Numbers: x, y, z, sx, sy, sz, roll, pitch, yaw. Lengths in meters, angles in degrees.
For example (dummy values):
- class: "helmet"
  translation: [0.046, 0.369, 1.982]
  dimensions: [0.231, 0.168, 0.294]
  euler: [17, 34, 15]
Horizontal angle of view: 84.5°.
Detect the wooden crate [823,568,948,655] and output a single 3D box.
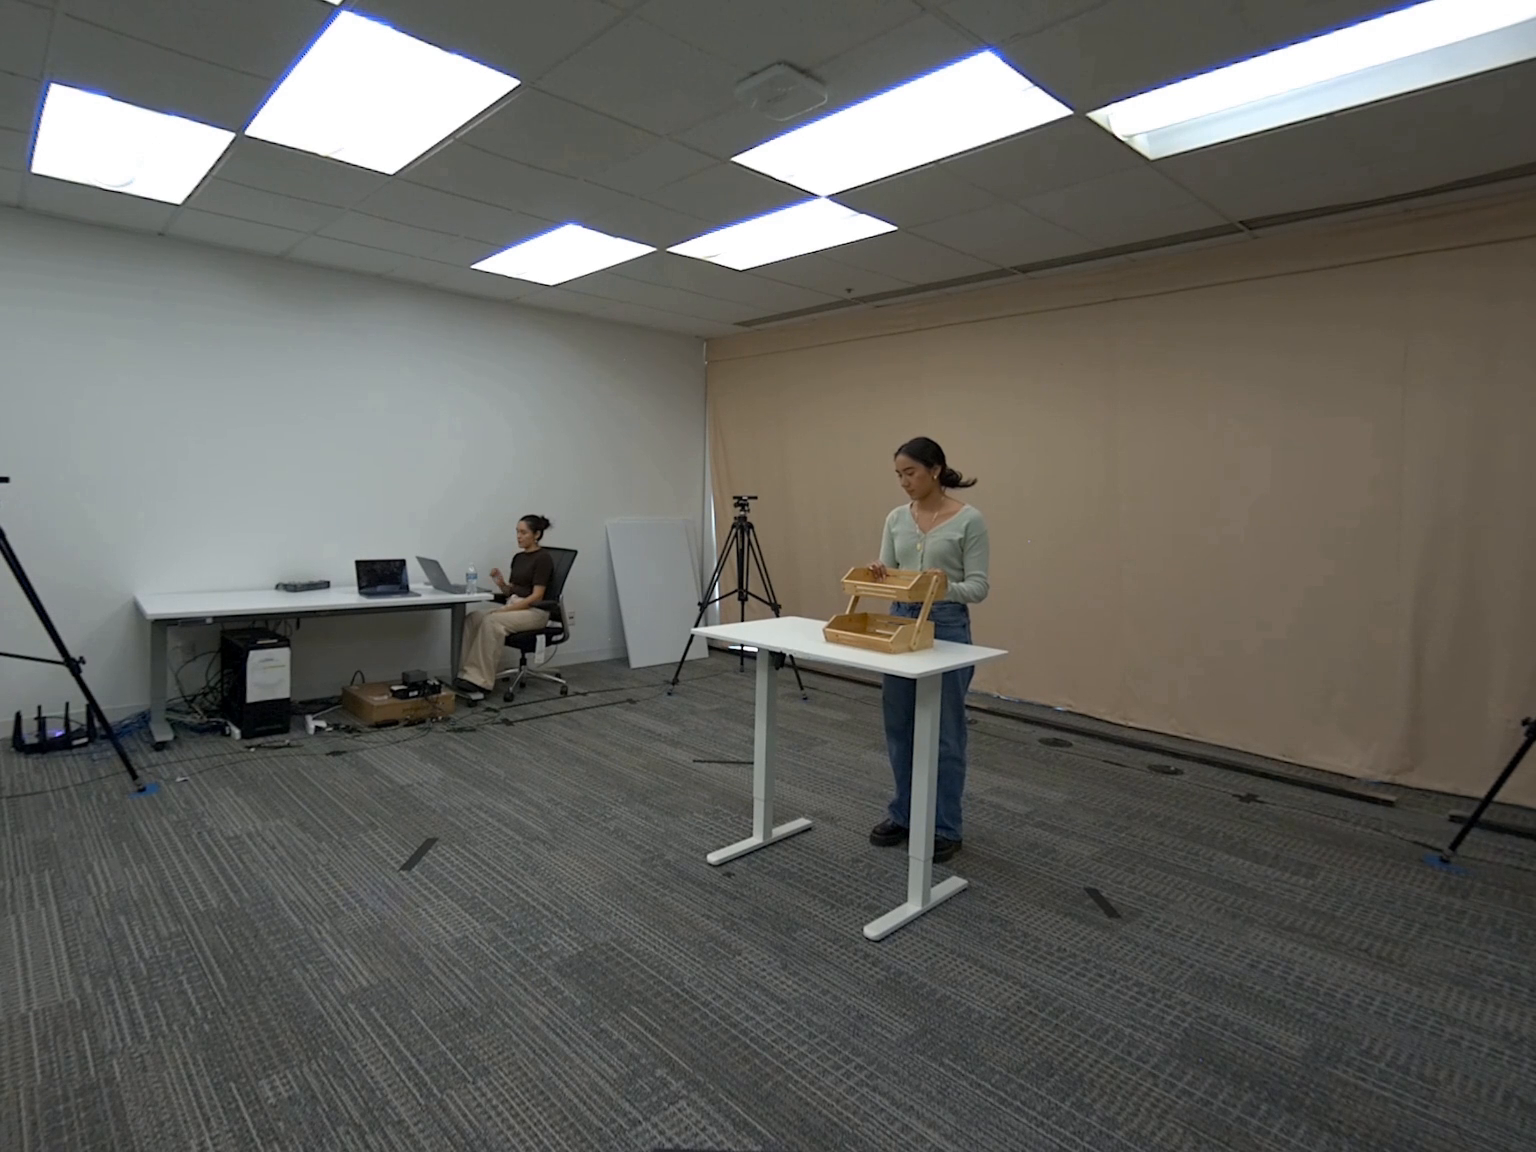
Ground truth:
- class: "wooden crate"
  translation: [0.407, 0.113, 2.998]
  dimensions: [0.295, 0.272, 0.333]
  euler: [-2, 5, -44]
